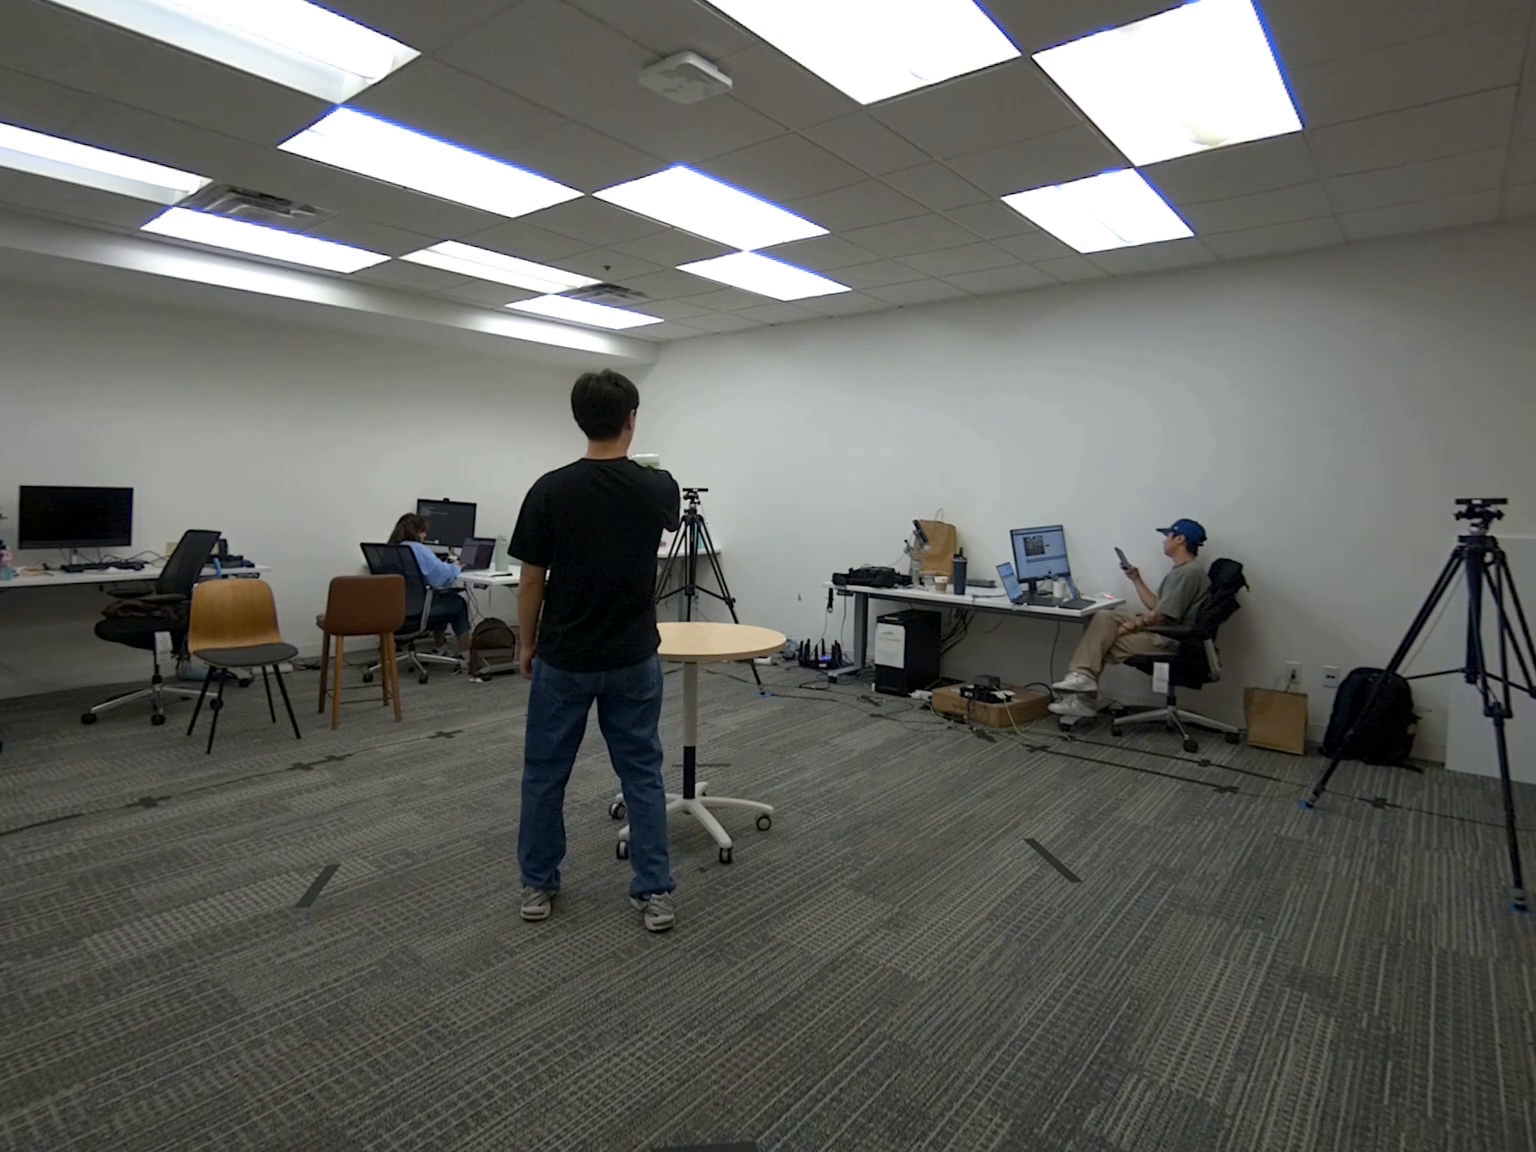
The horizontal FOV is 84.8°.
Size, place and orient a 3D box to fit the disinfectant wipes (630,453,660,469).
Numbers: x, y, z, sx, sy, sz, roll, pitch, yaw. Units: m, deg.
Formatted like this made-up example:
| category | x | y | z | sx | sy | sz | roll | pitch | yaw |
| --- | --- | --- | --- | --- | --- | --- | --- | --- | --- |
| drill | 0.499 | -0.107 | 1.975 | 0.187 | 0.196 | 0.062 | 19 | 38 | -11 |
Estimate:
| category | x | y | z | sx | sy | sz | roll | pitch | yaw |
| --- | --- | --- | --- | --- | --- | --- | --- | --- | --- |
| disinfectant wipes | -0.486 | -0.374 | 3.344 | 0.118 | 0.216 | 0.119 | -1 | 8 | -2 |
